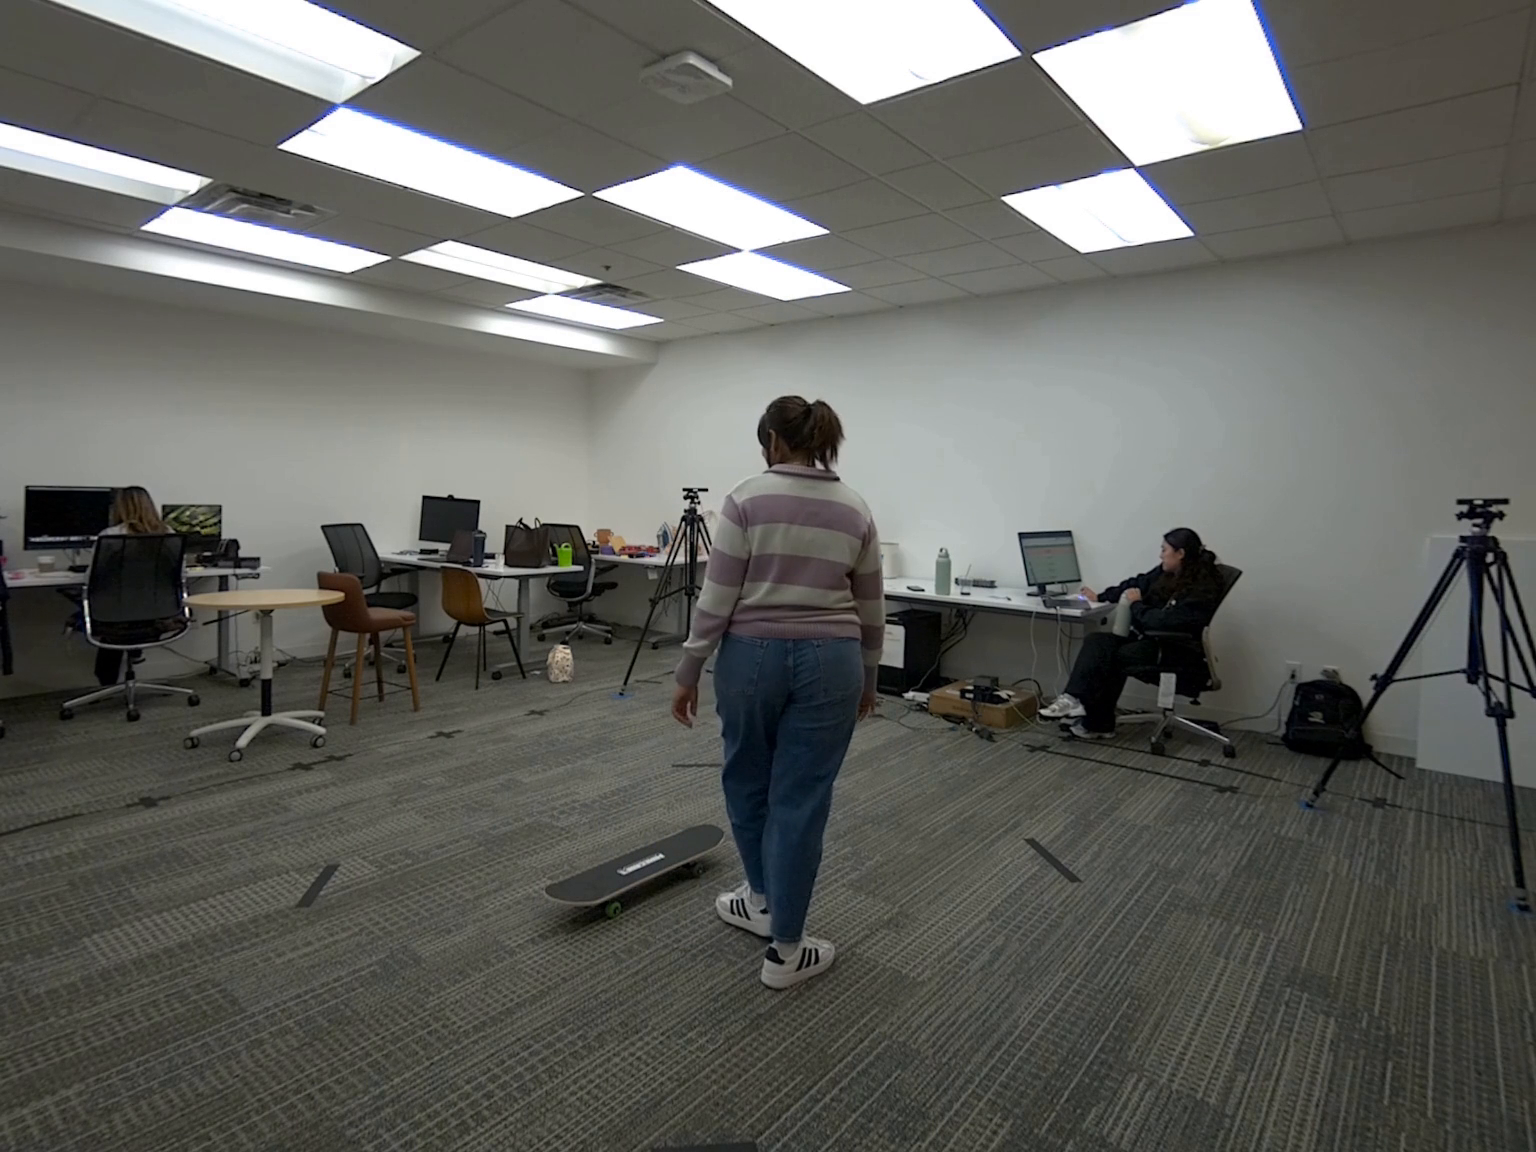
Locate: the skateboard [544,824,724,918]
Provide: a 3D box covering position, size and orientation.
[{"bbox_3d":[-0.447,1.026,2.945,0.200,0.110,0.762,5,6,39],"label":"skateboard"}]
